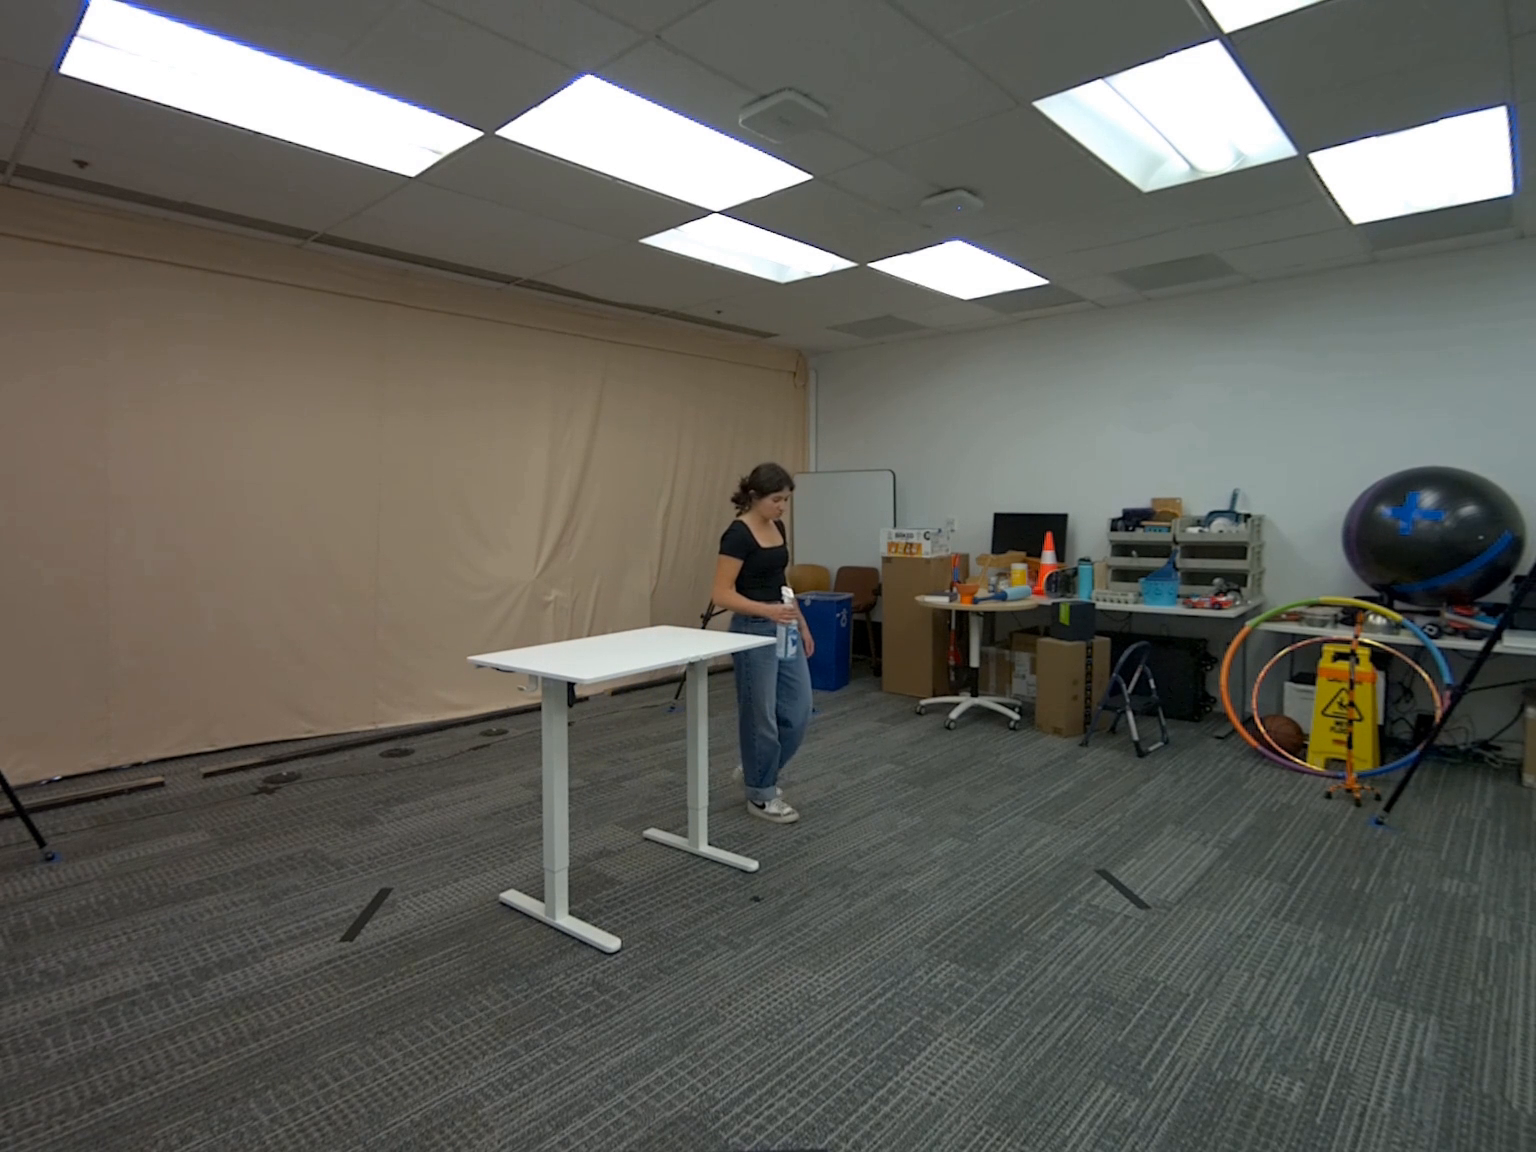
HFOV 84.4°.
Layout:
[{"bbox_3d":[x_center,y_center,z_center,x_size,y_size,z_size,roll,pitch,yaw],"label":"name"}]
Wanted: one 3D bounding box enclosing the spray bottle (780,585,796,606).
[{"bbox_3d":[0.068,0.198,3.479,0.087,0.296,0.090,6,6,0],"label":"spray bottle"}]
